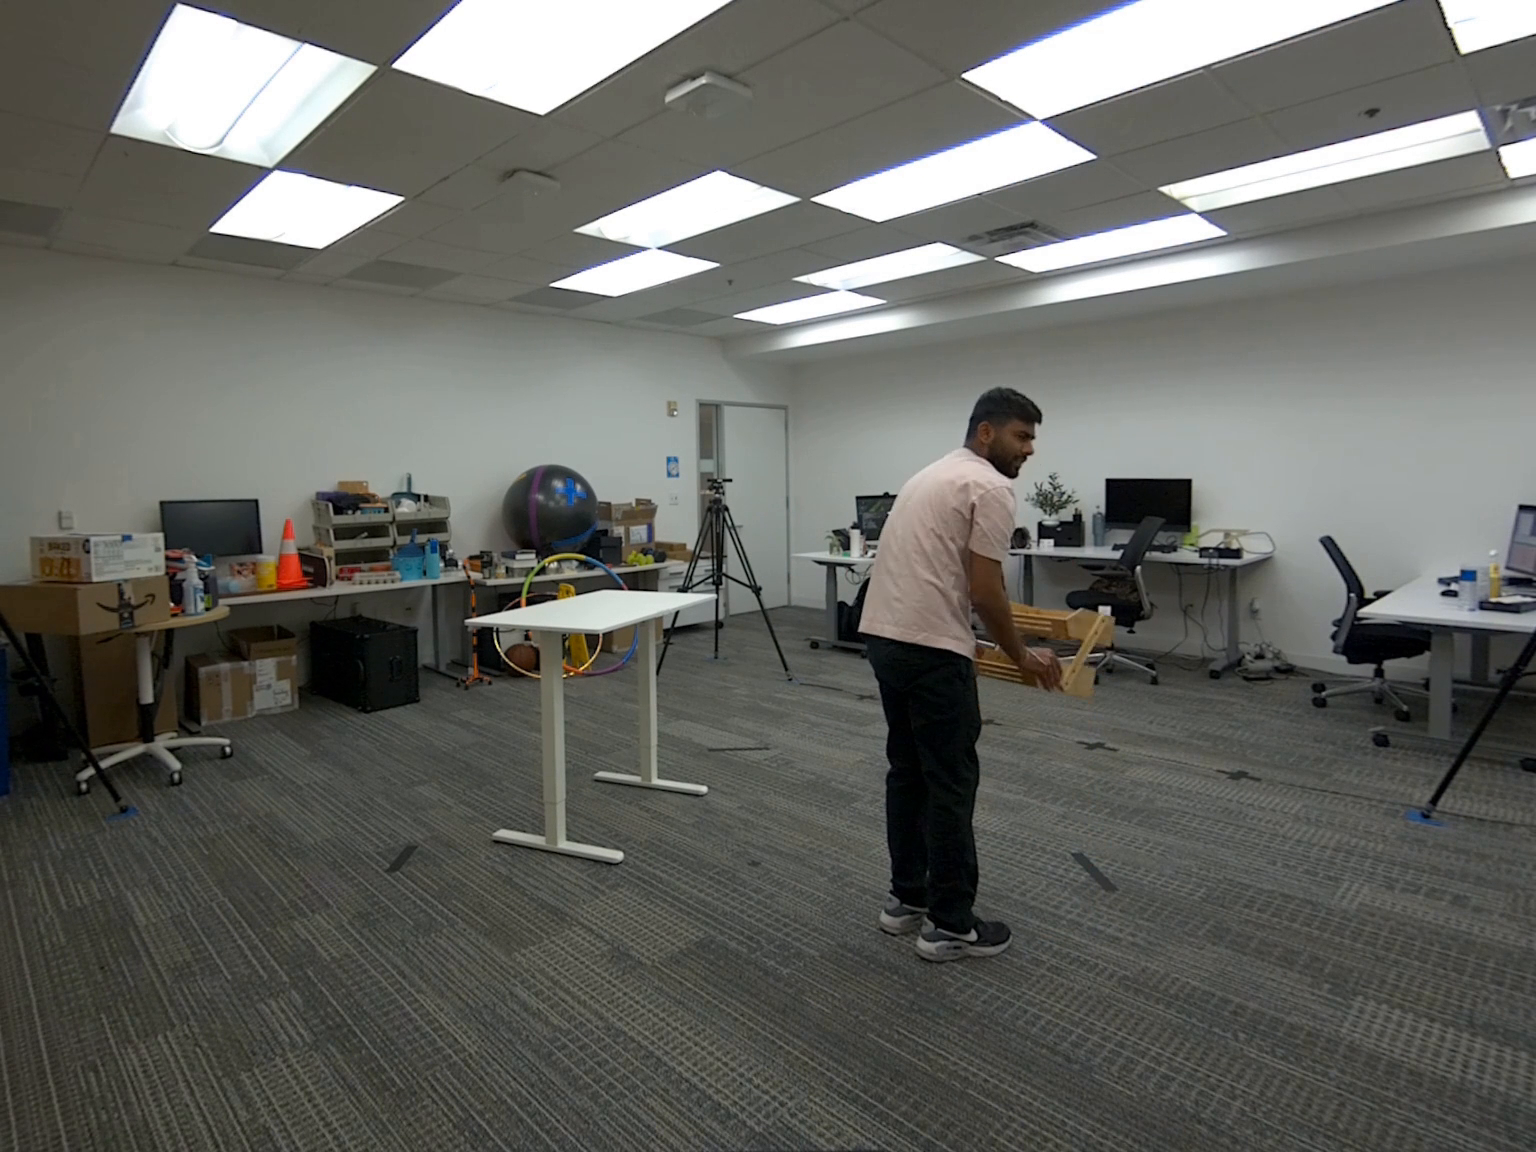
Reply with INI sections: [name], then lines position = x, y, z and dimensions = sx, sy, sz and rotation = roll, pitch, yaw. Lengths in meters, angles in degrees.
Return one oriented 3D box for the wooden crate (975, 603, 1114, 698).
[wooden crate]
position = 0.851, 0.219, 2.702
dimensions = 0.293, 0.274, 0.332
rotation = 14, -6, -28
